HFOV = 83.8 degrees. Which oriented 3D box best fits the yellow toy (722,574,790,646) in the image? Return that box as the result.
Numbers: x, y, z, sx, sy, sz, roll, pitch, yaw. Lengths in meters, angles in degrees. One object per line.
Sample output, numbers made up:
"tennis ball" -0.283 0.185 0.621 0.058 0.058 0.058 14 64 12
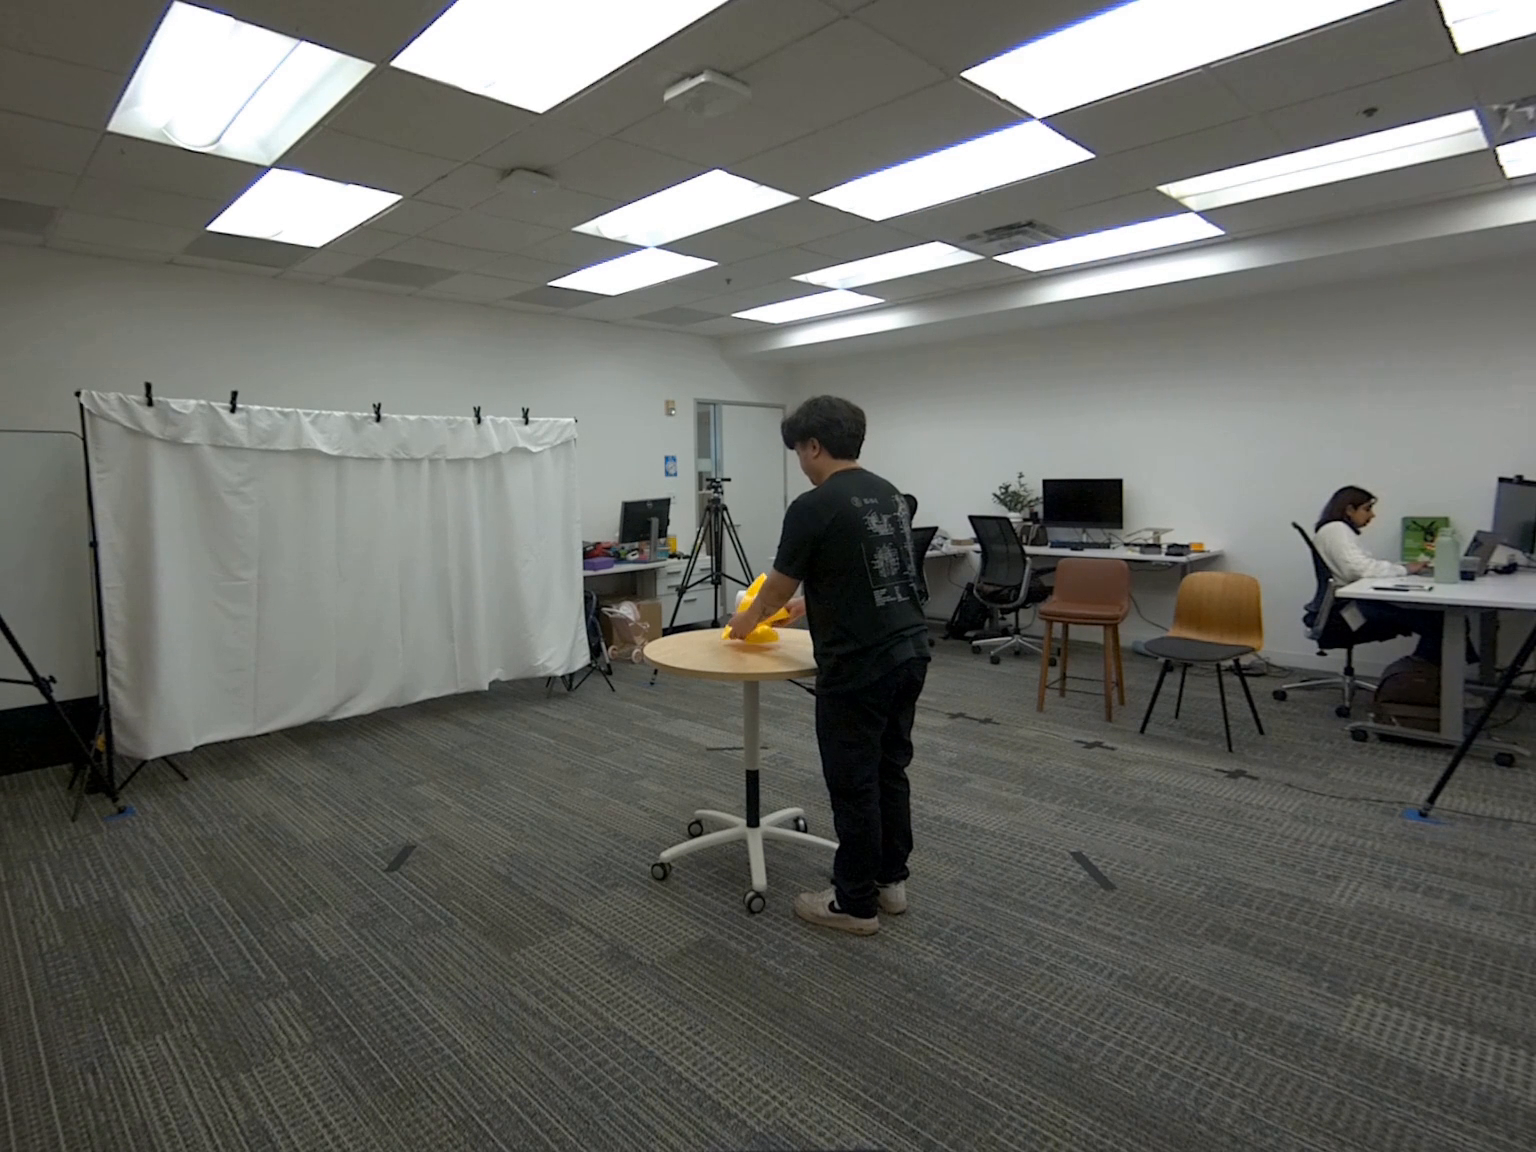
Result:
"yellow toy" -0.054 0.104 3.068 0.188 0.230 0.211 -5 7 -44
